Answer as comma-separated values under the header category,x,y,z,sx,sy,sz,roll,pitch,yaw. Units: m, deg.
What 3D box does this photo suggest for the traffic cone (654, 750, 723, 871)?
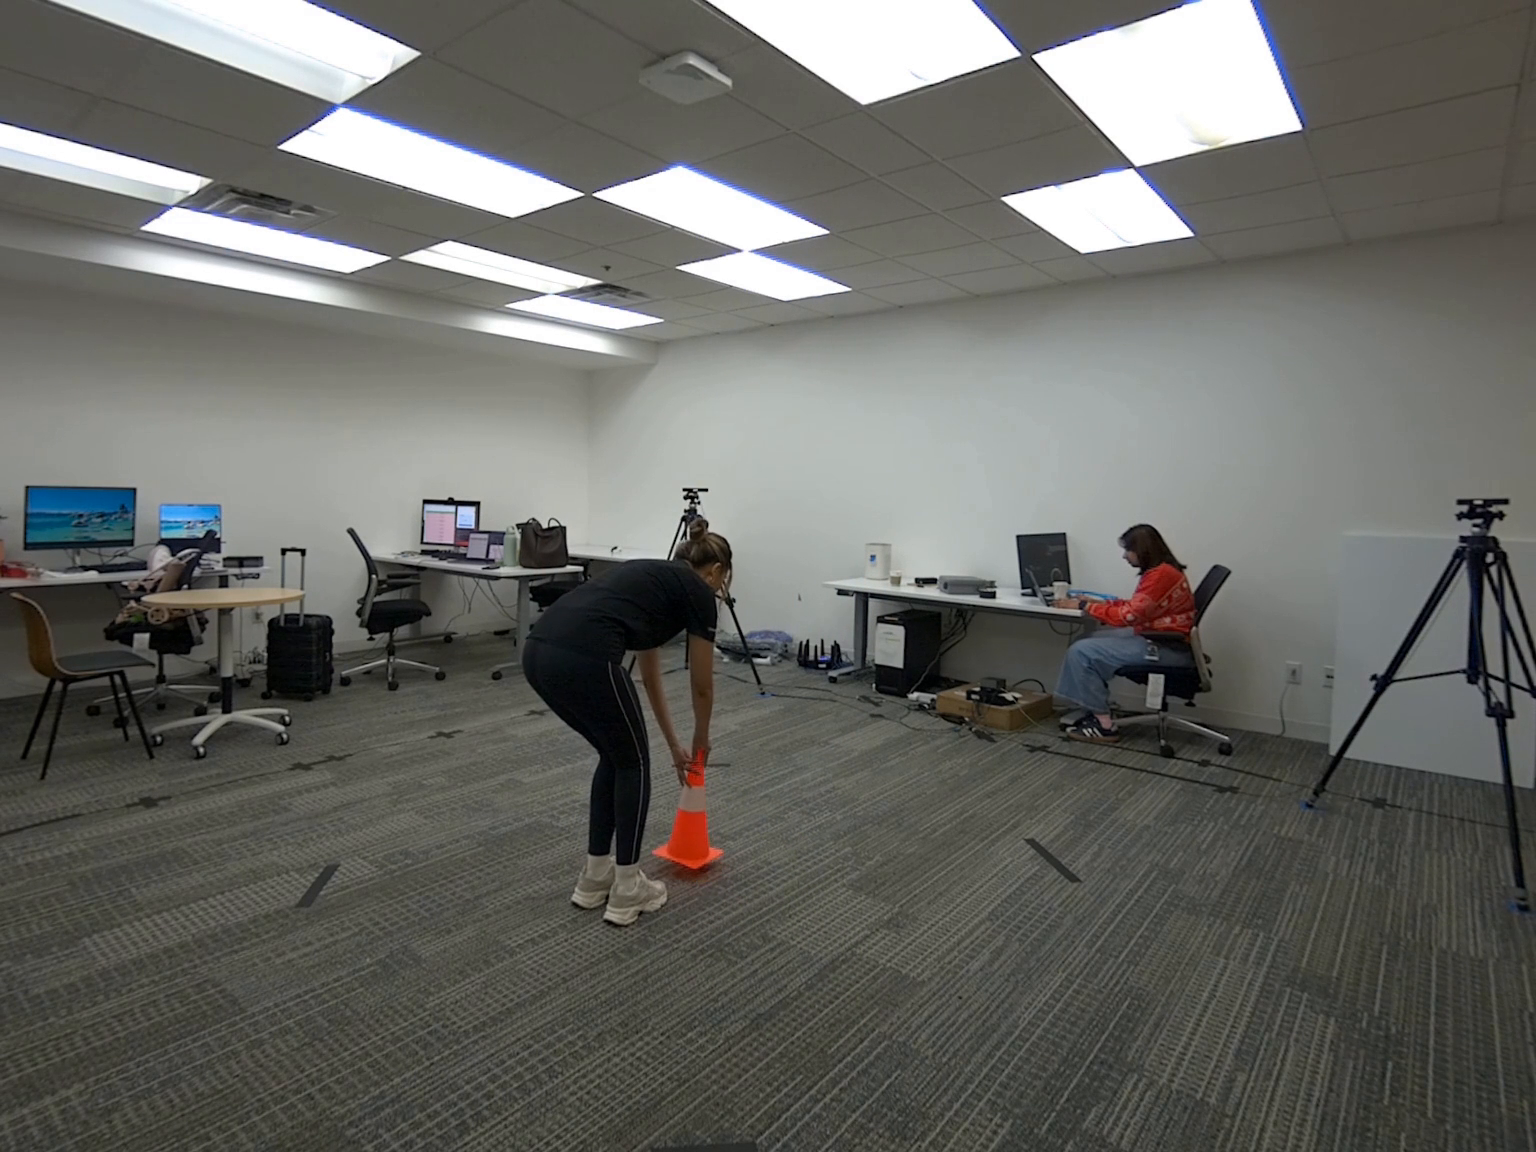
category,x,y,z,sx,sy,sz,roll,pitch,yaw
traffic cone,-0.281,0.819,3.121,0.210,0.383,0.199,7,1,30
